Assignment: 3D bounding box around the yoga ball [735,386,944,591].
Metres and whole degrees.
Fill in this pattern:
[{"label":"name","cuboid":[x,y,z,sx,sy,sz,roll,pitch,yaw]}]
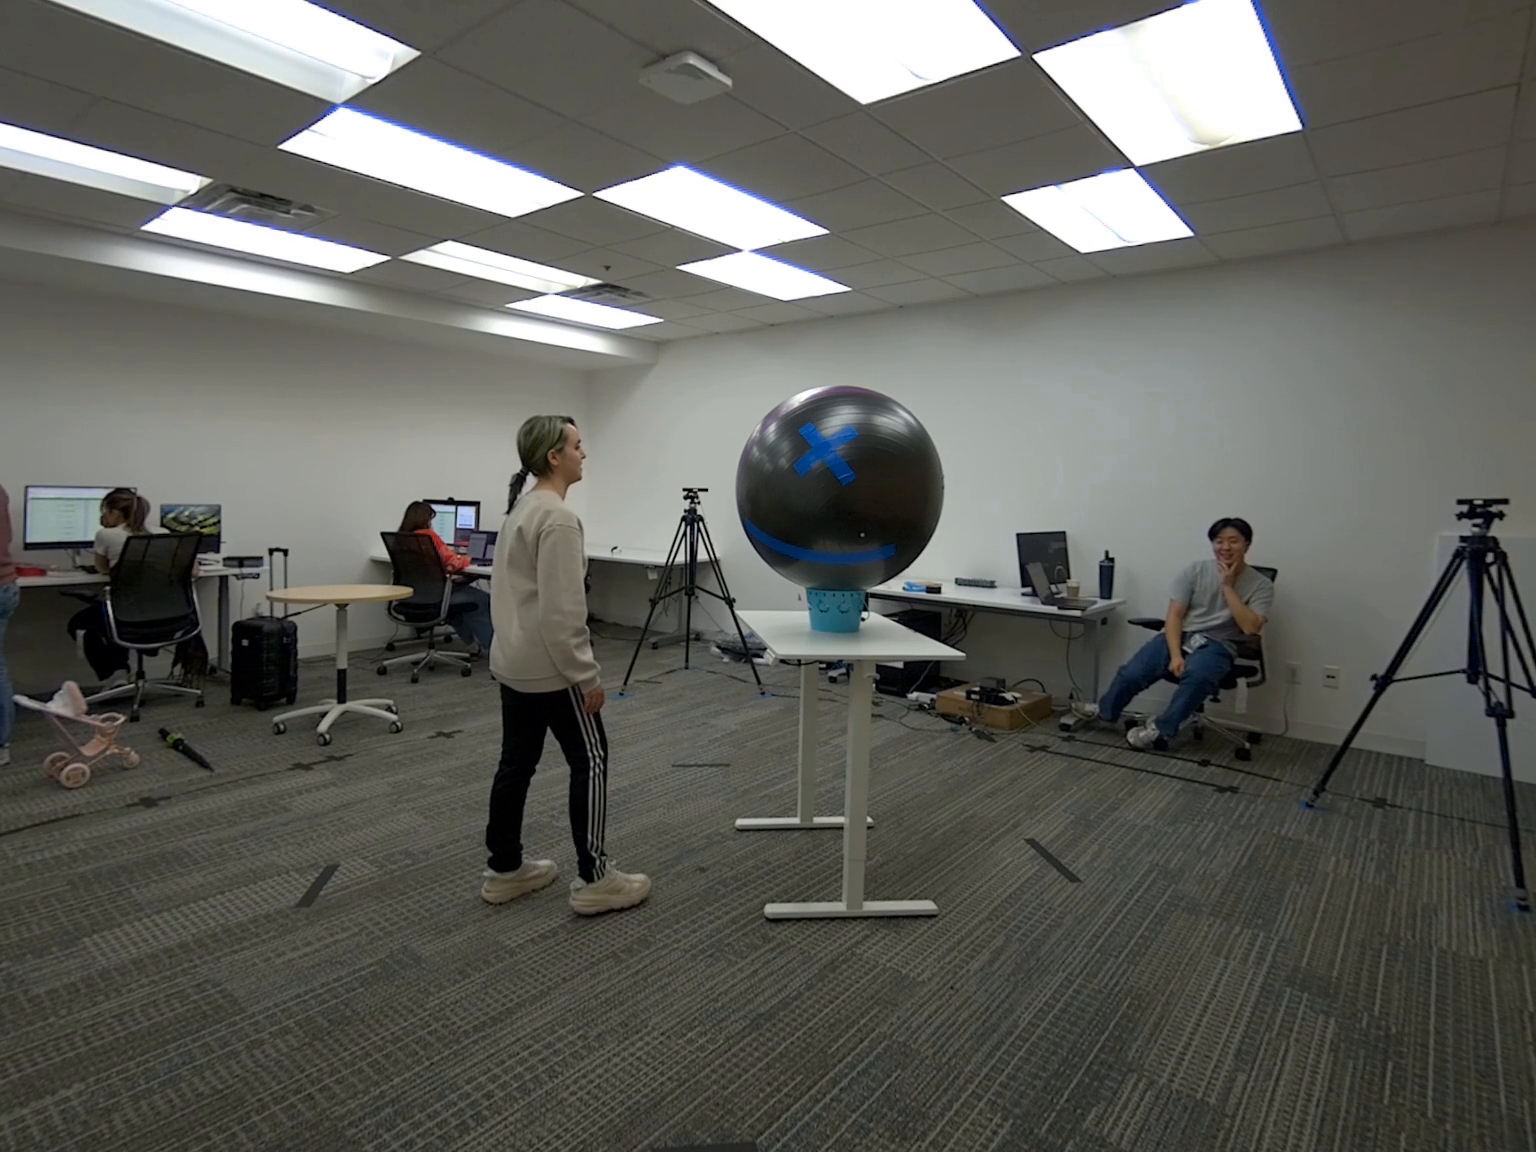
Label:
[{"label":"yoga ball","cuboid":[0.252,-0.316,3.131,0.757,0.755,0.762,1,4,-2]}]
